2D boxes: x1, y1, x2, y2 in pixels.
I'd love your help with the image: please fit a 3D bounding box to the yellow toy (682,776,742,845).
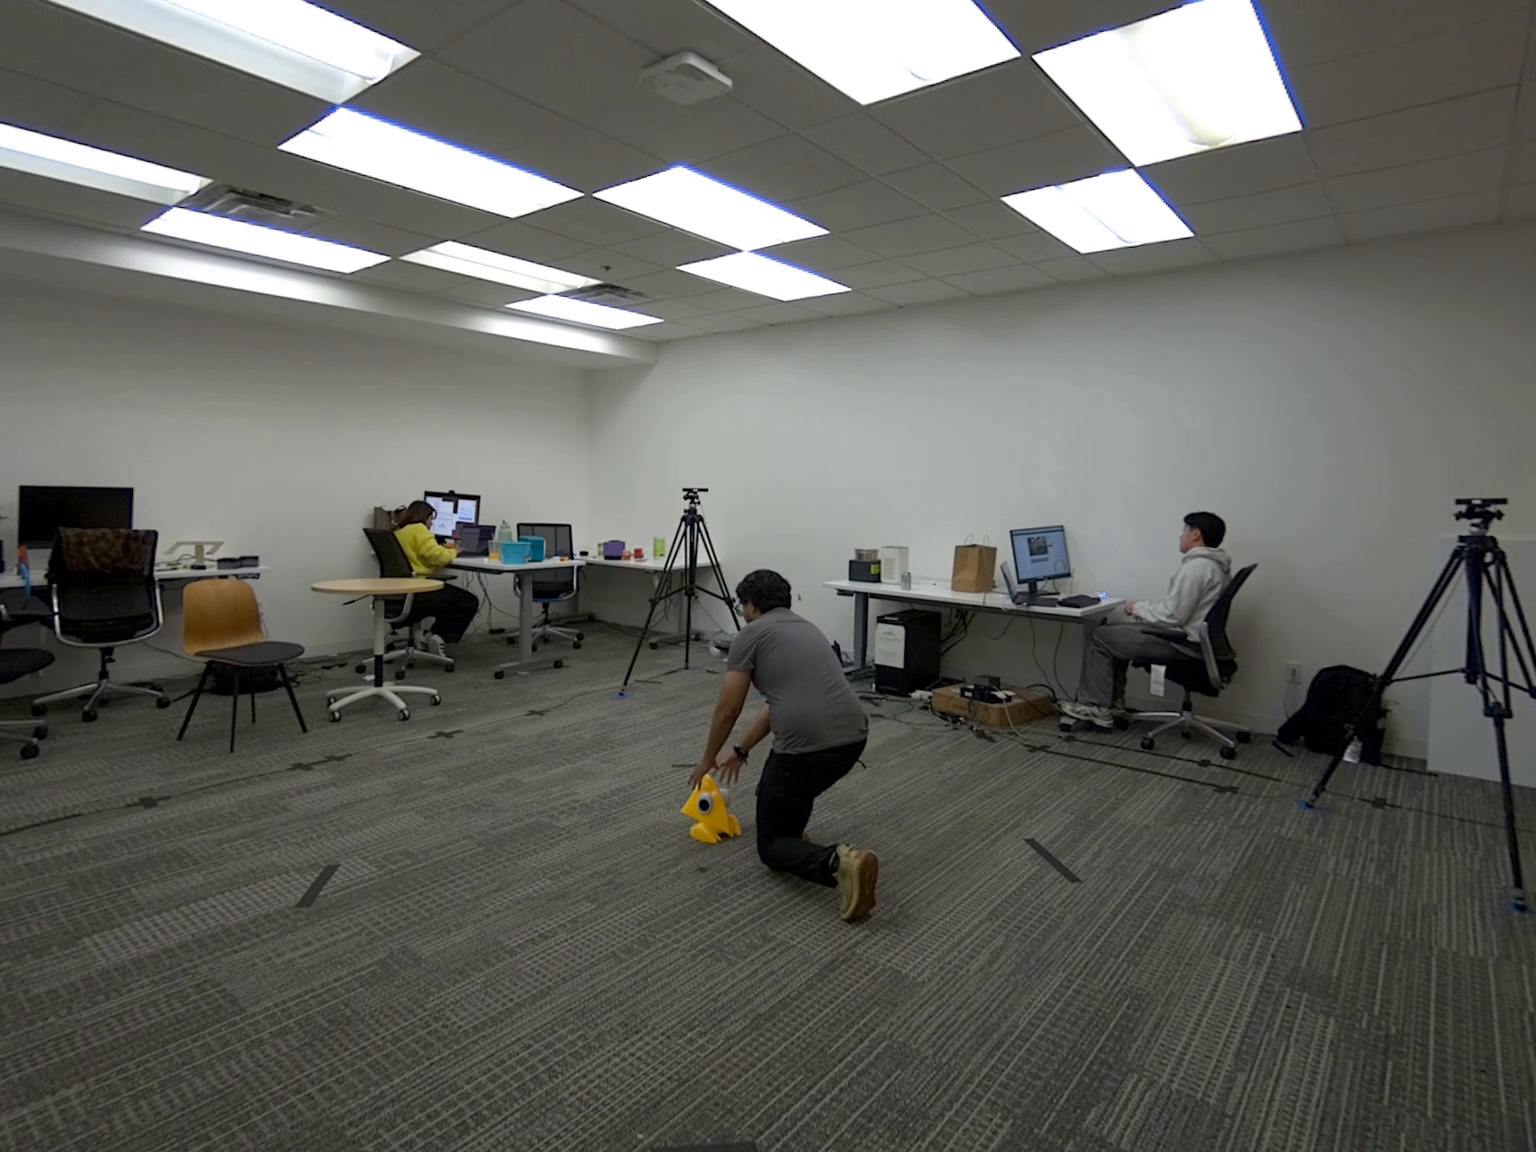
[{"bbox_3d":[-0.226,0.926,3.456,0.198,0.230,0.200,-2,6,-41],"label":"yellow toy"}]
